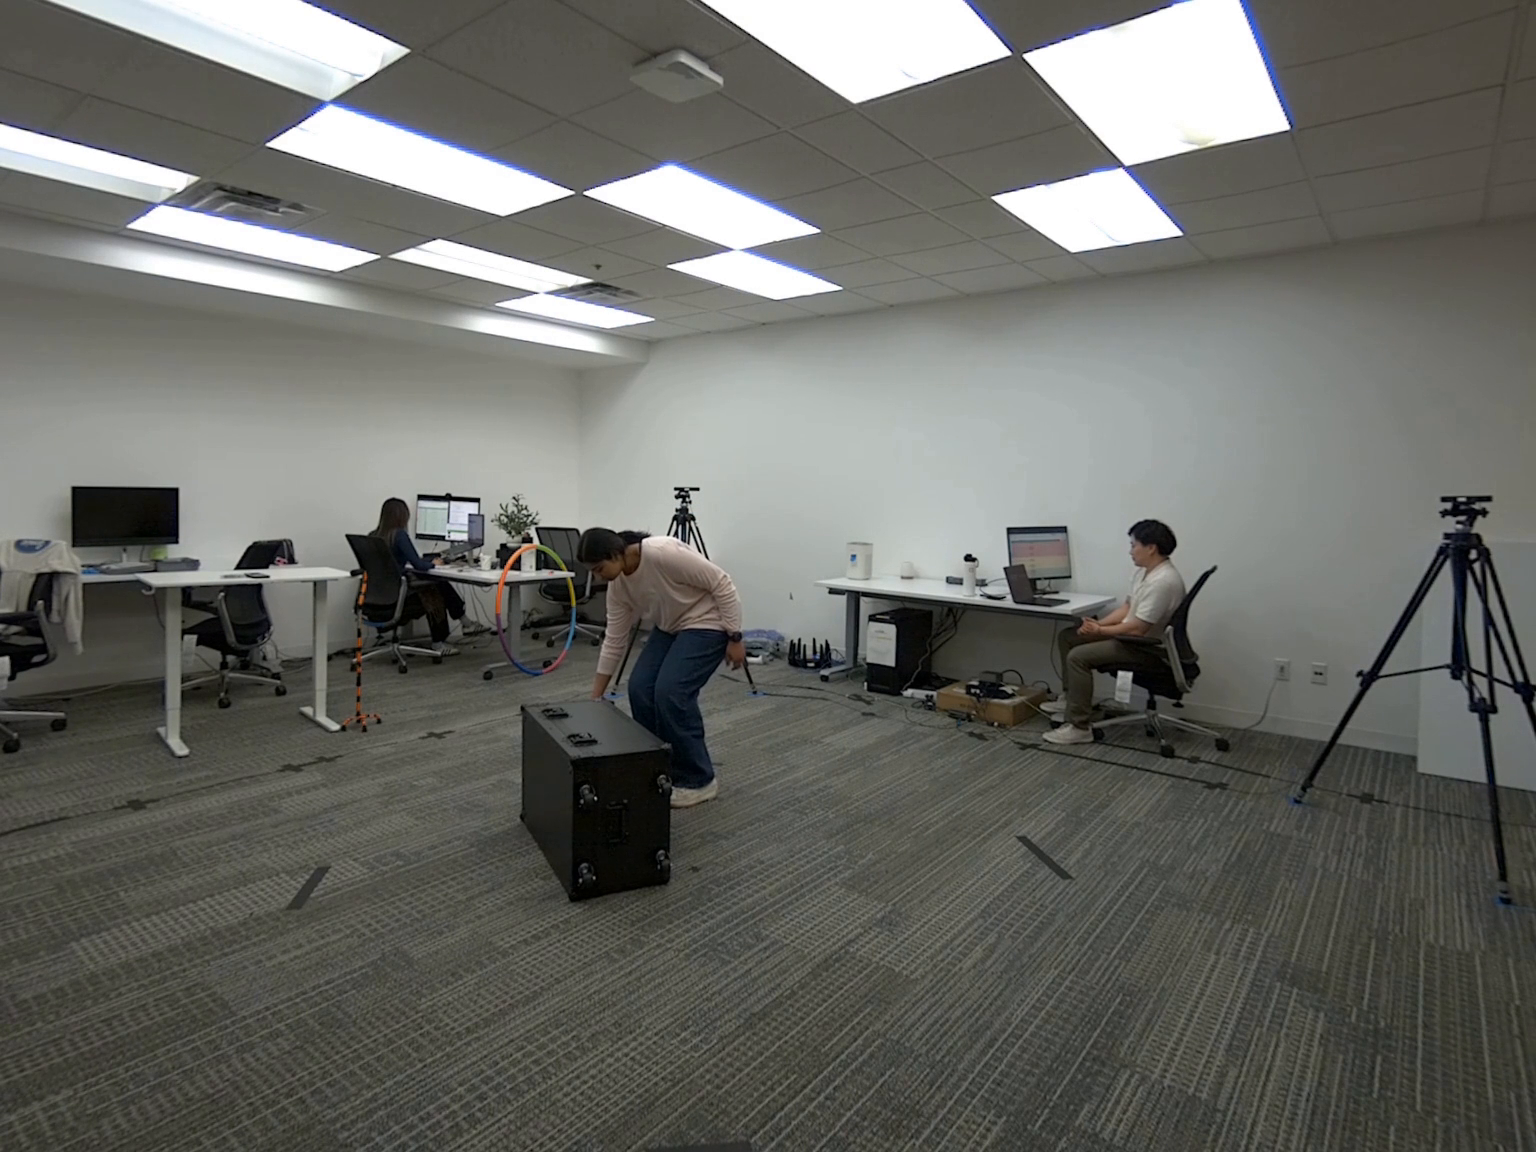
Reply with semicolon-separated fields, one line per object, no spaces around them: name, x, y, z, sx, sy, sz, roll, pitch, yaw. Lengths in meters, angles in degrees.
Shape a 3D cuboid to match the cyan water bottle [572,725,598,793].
cyan water bottle;-0.844;0.839;3.868;0.092;0.282;0.093;-1;4;-2
